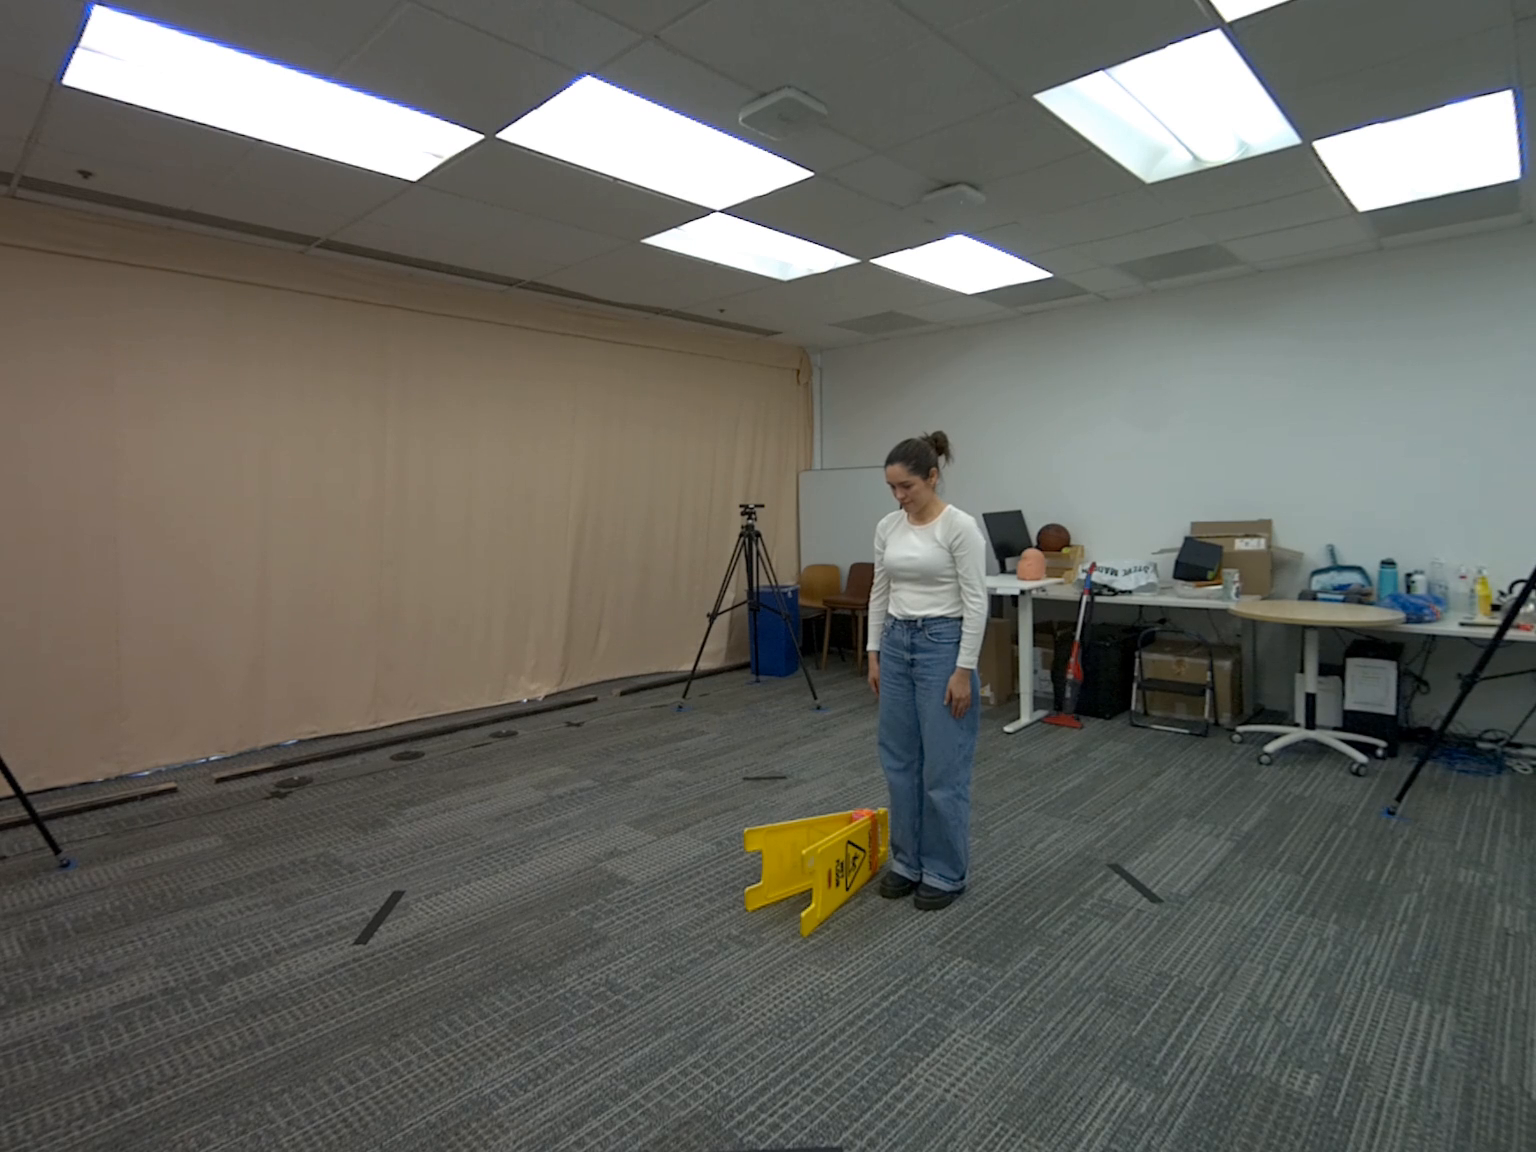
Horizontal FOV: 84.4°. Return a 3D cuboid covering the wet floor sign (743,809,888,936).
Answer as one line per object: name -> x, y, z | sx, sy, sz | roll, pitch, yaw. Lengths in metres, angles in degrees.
wet floor sign -> 0.237, 1.004, 3.013 | 0.299, 0.282, 0.626 | 4, 5, 44
